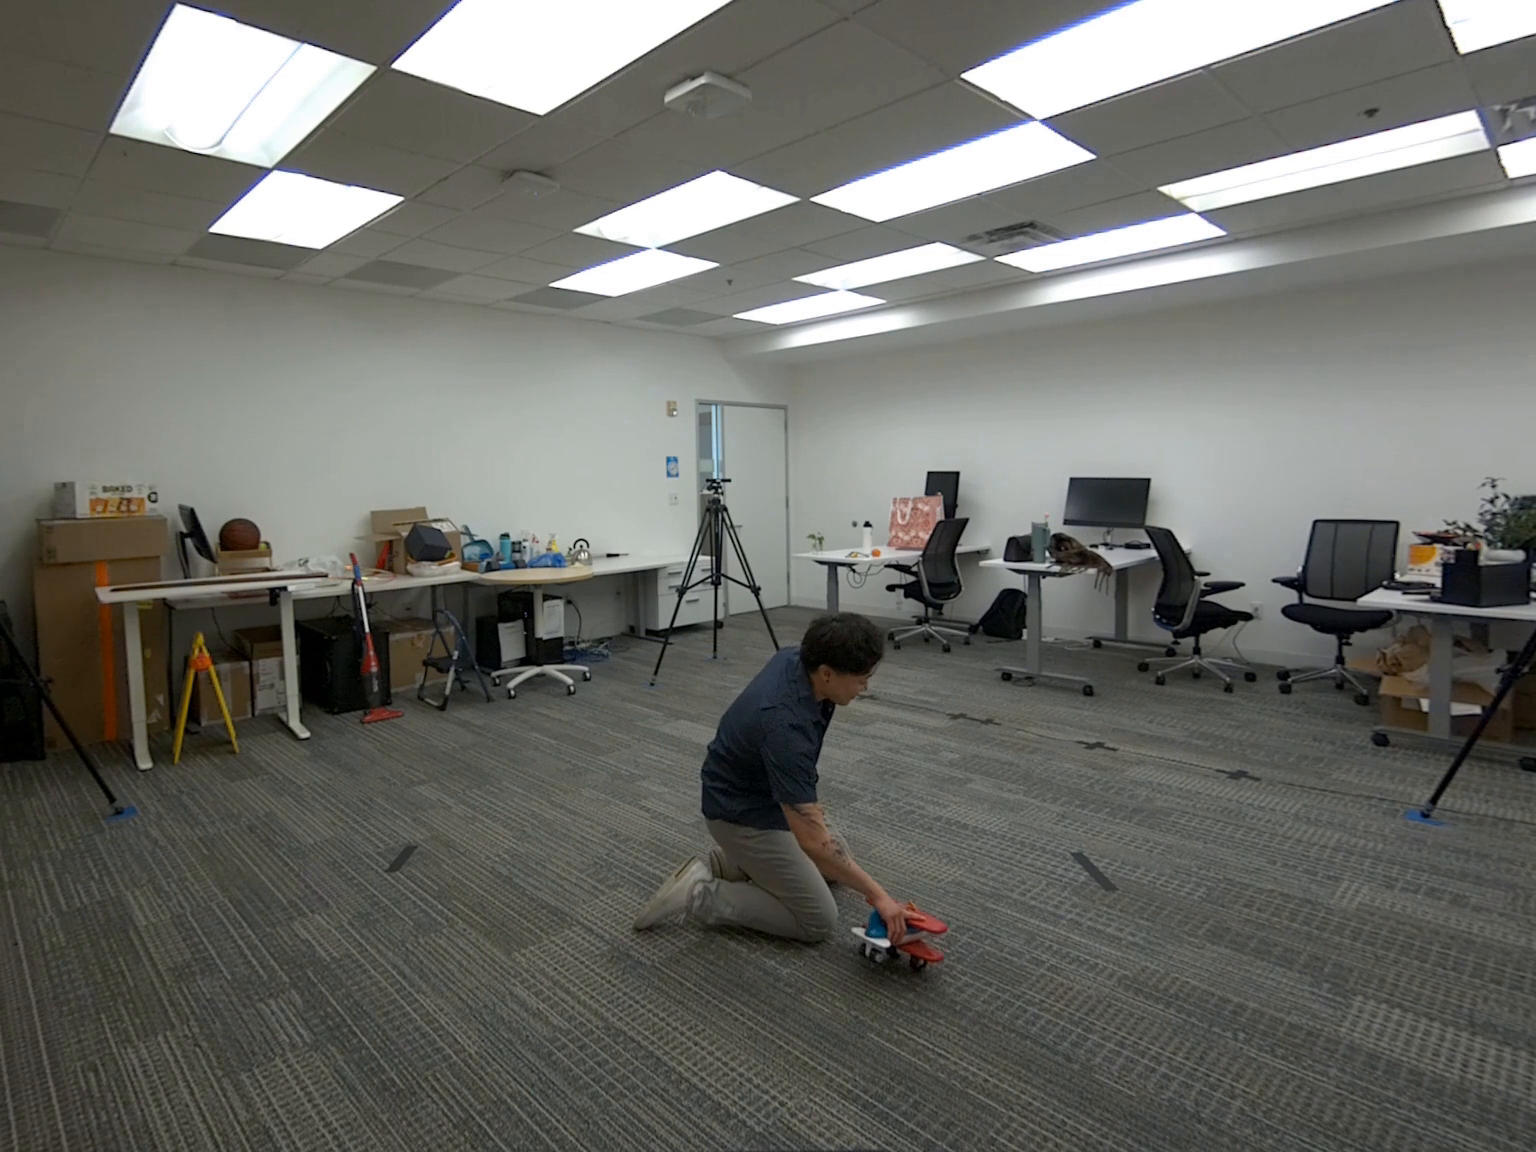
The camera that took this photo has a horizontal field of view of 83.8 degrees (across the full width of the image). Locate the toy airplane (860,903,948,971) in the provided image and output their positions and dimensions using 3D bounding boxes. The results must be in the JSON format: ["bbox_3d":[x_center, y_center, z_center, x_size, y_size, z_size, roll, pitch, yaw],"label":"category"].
[{"bbox_3d":[0.380,1.017,2.395,0.257,0.157,0.251,15,-13,20],"label":"toy airplane"}]
